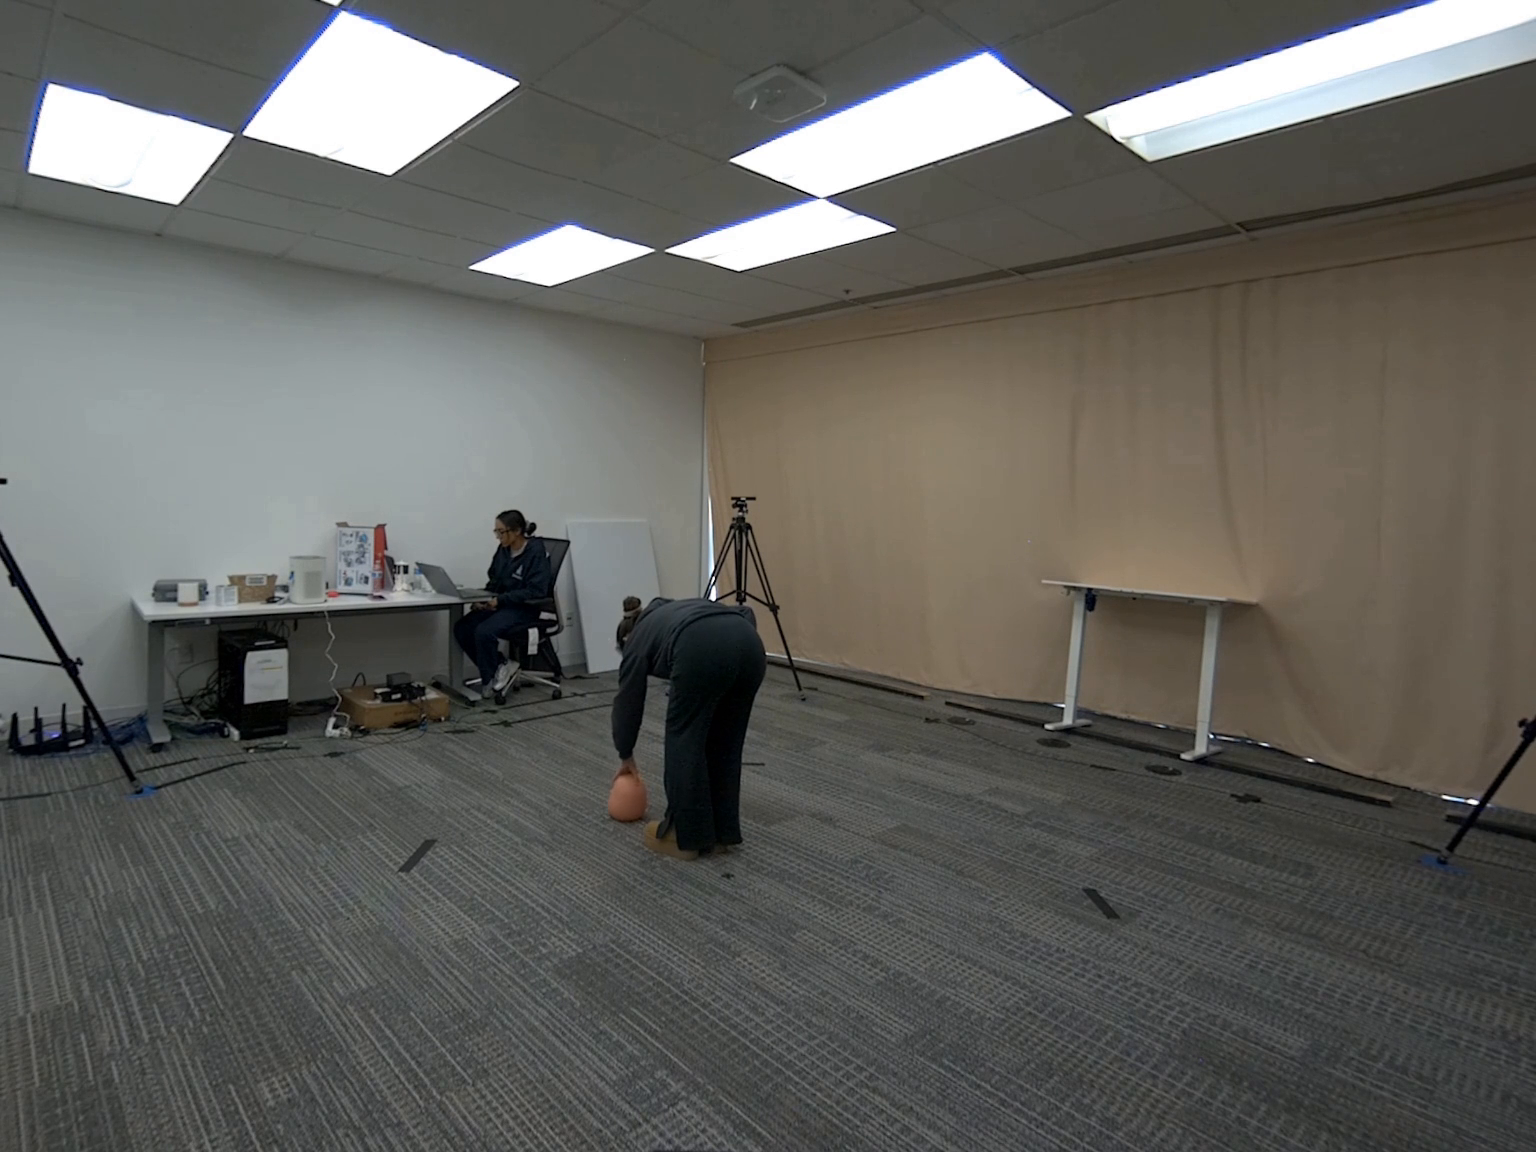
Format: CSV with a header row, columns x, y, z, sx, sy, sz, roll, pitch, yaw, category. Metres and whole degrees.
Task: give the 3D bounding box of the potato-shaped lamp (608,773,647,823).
x,y,z,sx,sy,sz,roll,pitch,yaw,category
-0.619,0.952,3.646,0.161,0.196,0.176,-1,15,-32,potato-shaped lamp
